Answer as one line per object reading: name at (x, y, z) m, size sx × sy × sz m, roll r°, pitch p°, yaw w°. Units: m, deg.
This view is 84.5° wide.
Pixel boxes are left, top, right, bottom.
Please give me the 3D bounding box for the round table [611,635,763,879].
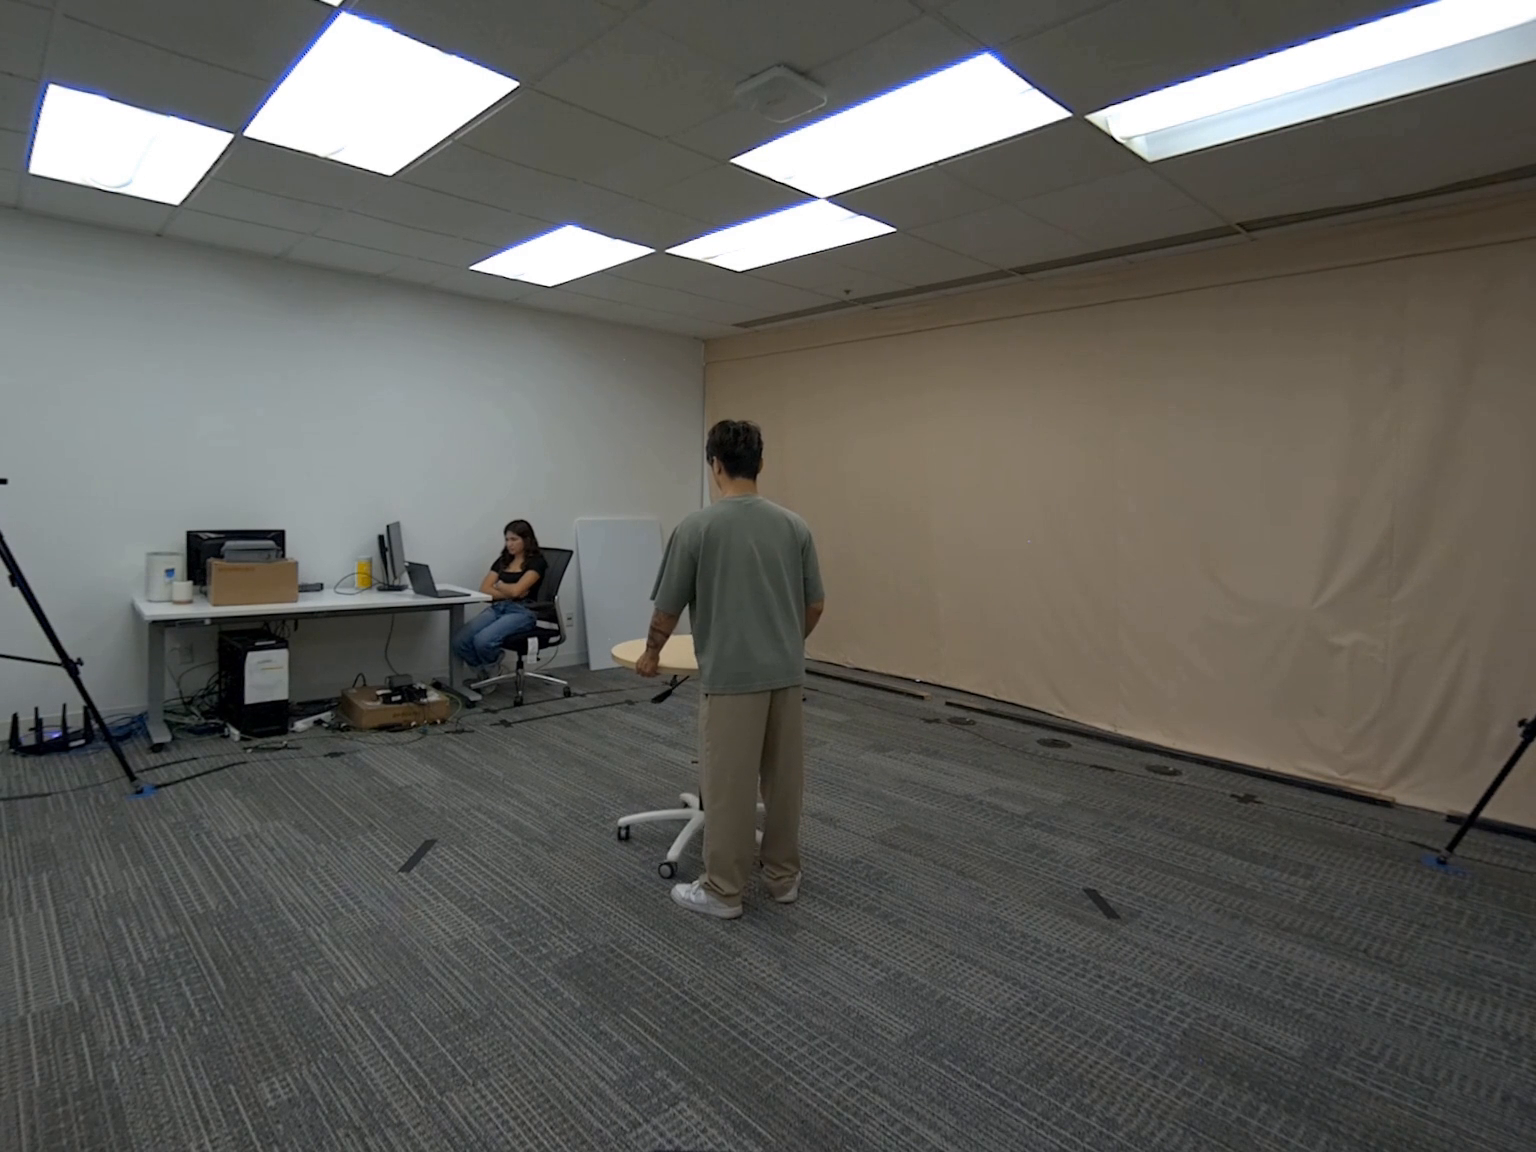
round table at (-0.239, 0.687, 3.382) m, size 0.784 × 0.784 × 0.788 m, roll 1°, pitch 4°, yaw -1°
